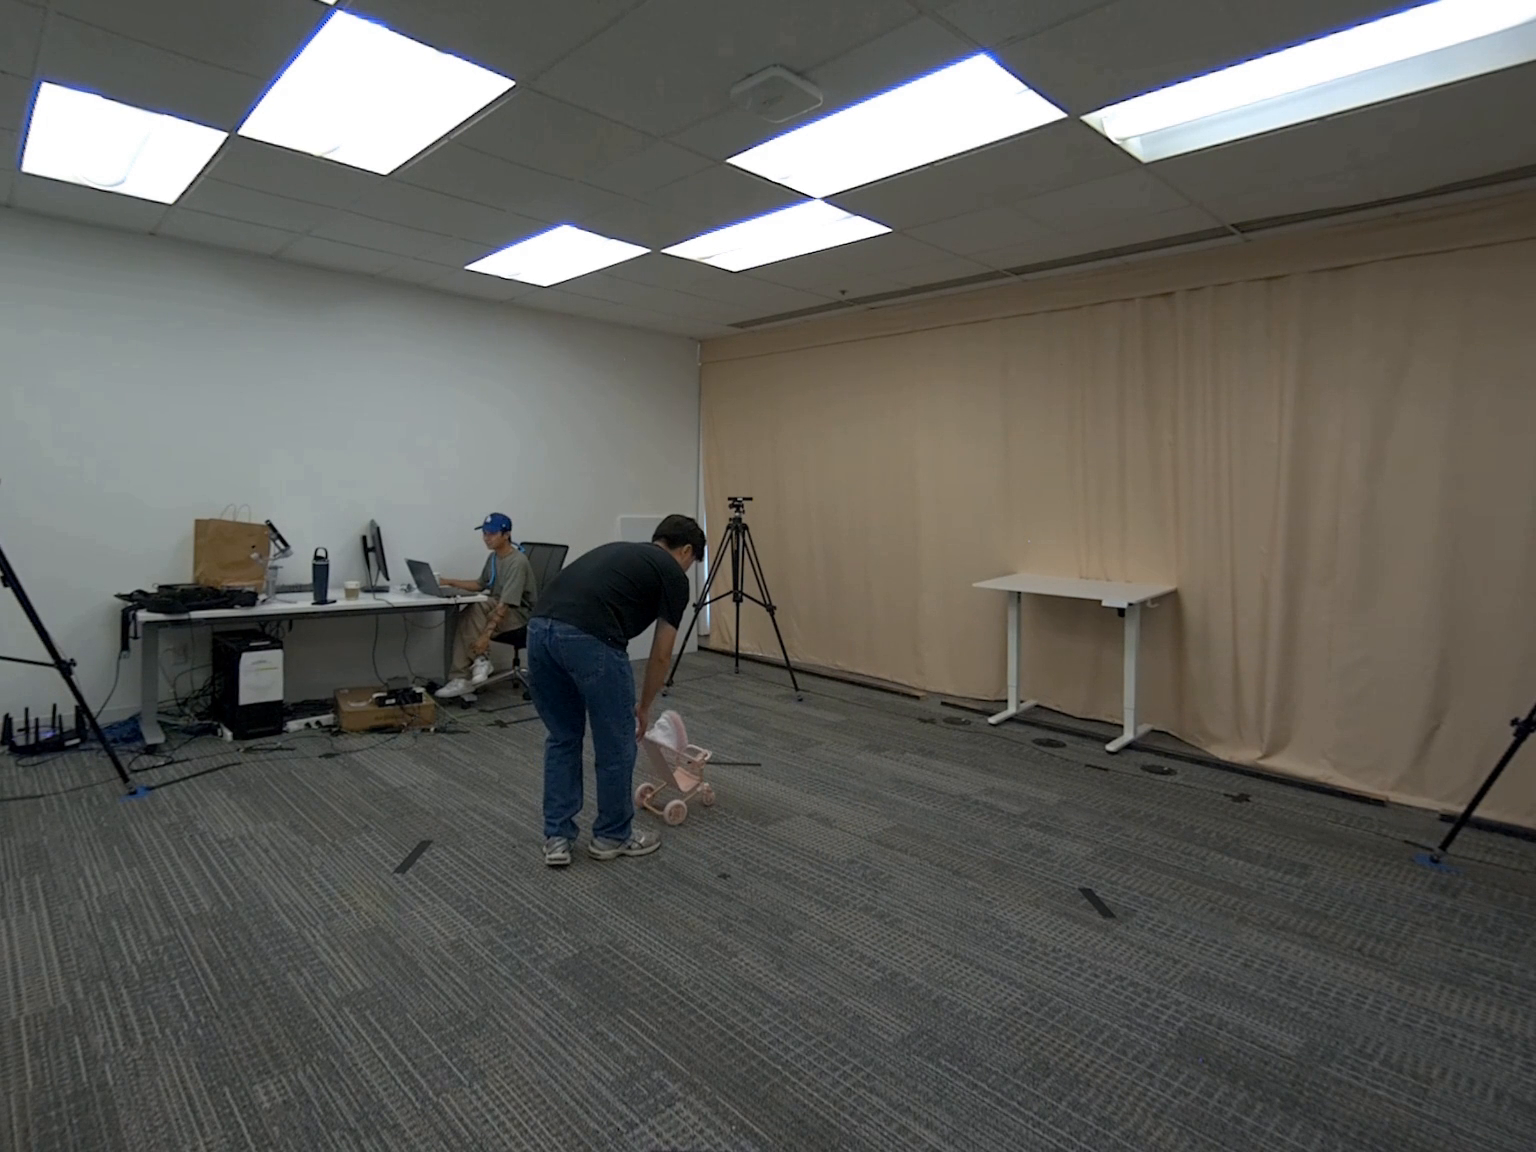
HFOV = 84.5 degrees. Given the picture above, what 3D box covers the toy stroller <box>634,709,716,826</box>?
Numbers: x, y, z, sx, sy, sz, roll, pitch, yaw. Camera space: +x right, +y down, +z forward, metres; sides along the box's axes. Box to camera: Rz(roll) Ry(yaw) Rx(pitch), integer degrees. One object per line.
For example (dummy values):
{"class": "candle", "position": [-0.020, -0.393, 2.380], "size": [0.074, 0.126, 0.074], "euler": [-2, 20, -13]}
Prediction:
{"class": "toy stroller", "position": [-0.425, 0.826, 3.701], "size": [0.337, 0.529, 0.288], "euler": [-20, 16, -31]}
